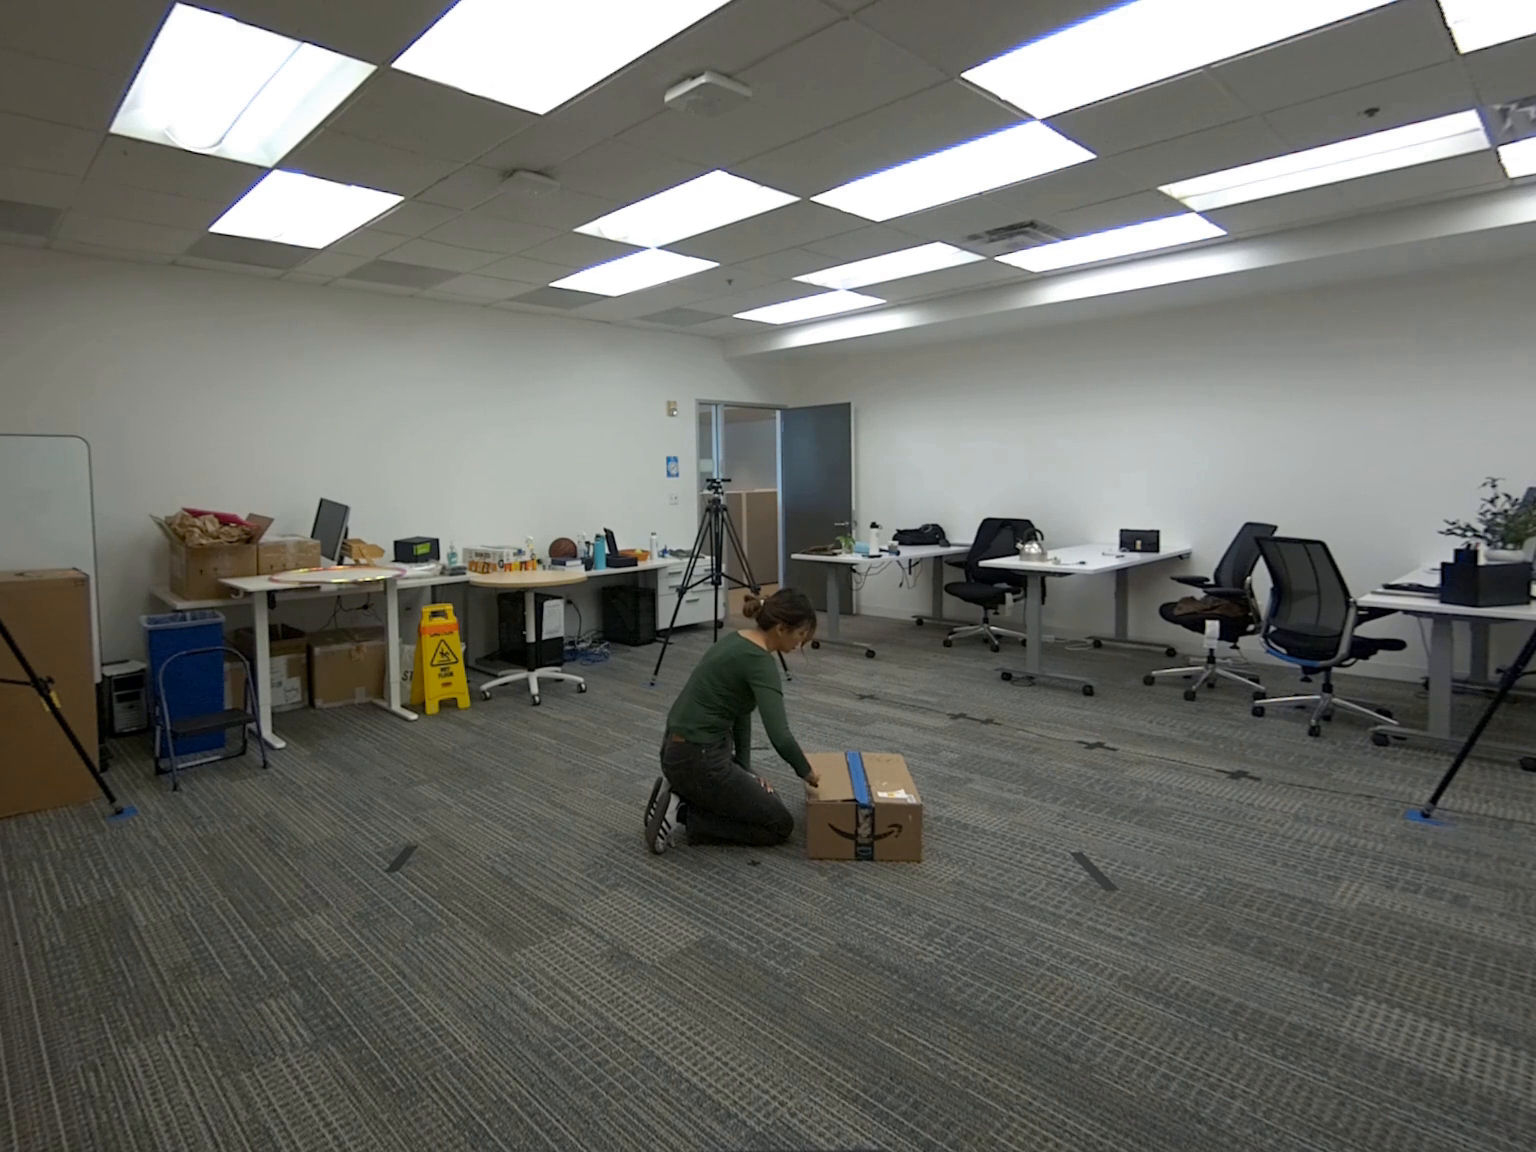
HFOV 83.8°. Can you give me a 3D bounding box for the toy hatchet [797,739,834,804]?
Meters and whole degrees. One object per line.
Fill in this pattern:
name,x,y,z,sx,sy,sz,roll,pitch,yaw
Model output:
toy hatchet,0.169,0.750,3.312,0.029,0.128,0.276,-37,20,2
